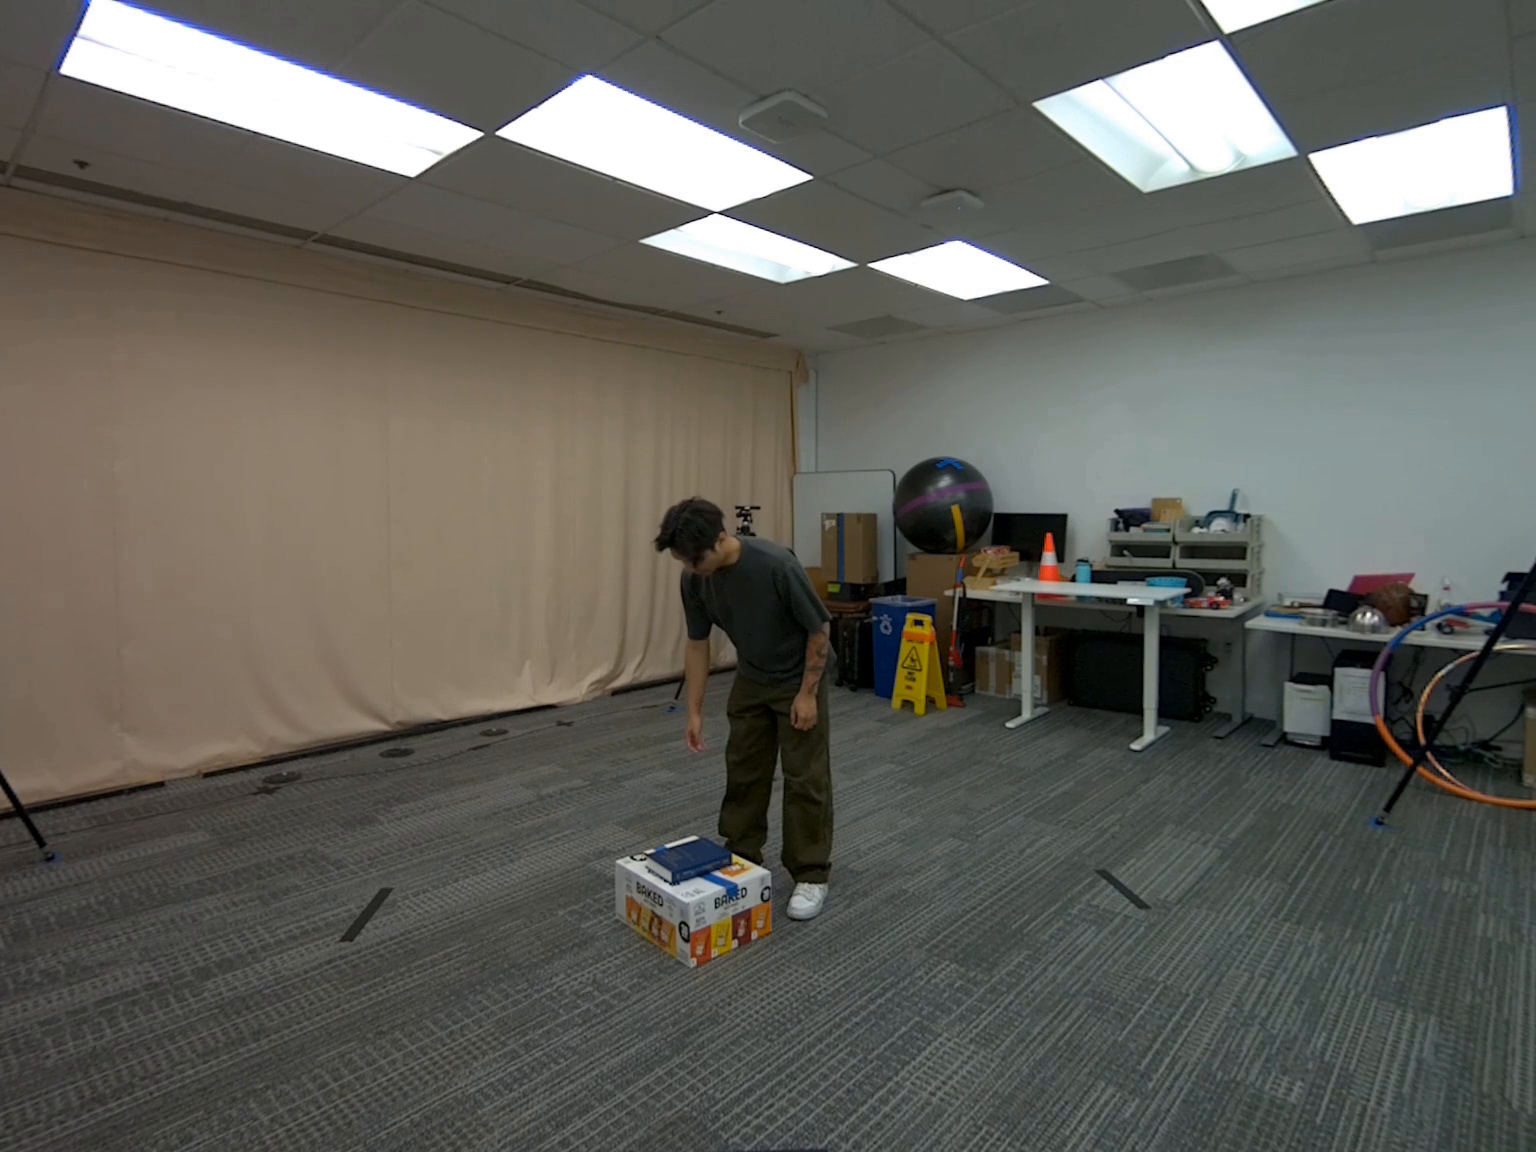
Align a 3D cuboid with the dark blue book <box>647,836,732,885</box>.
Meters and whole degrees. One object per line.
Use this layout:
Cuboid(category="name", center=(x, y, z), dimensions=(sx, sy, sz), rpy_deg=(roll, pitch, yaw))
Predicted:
Cuboid(category="dark blue book", center=(-0.263, 0.947, 2.795), dimensions=(0.238, 0.045, 0.169), rpy_deg=(-4, 6, -38))
